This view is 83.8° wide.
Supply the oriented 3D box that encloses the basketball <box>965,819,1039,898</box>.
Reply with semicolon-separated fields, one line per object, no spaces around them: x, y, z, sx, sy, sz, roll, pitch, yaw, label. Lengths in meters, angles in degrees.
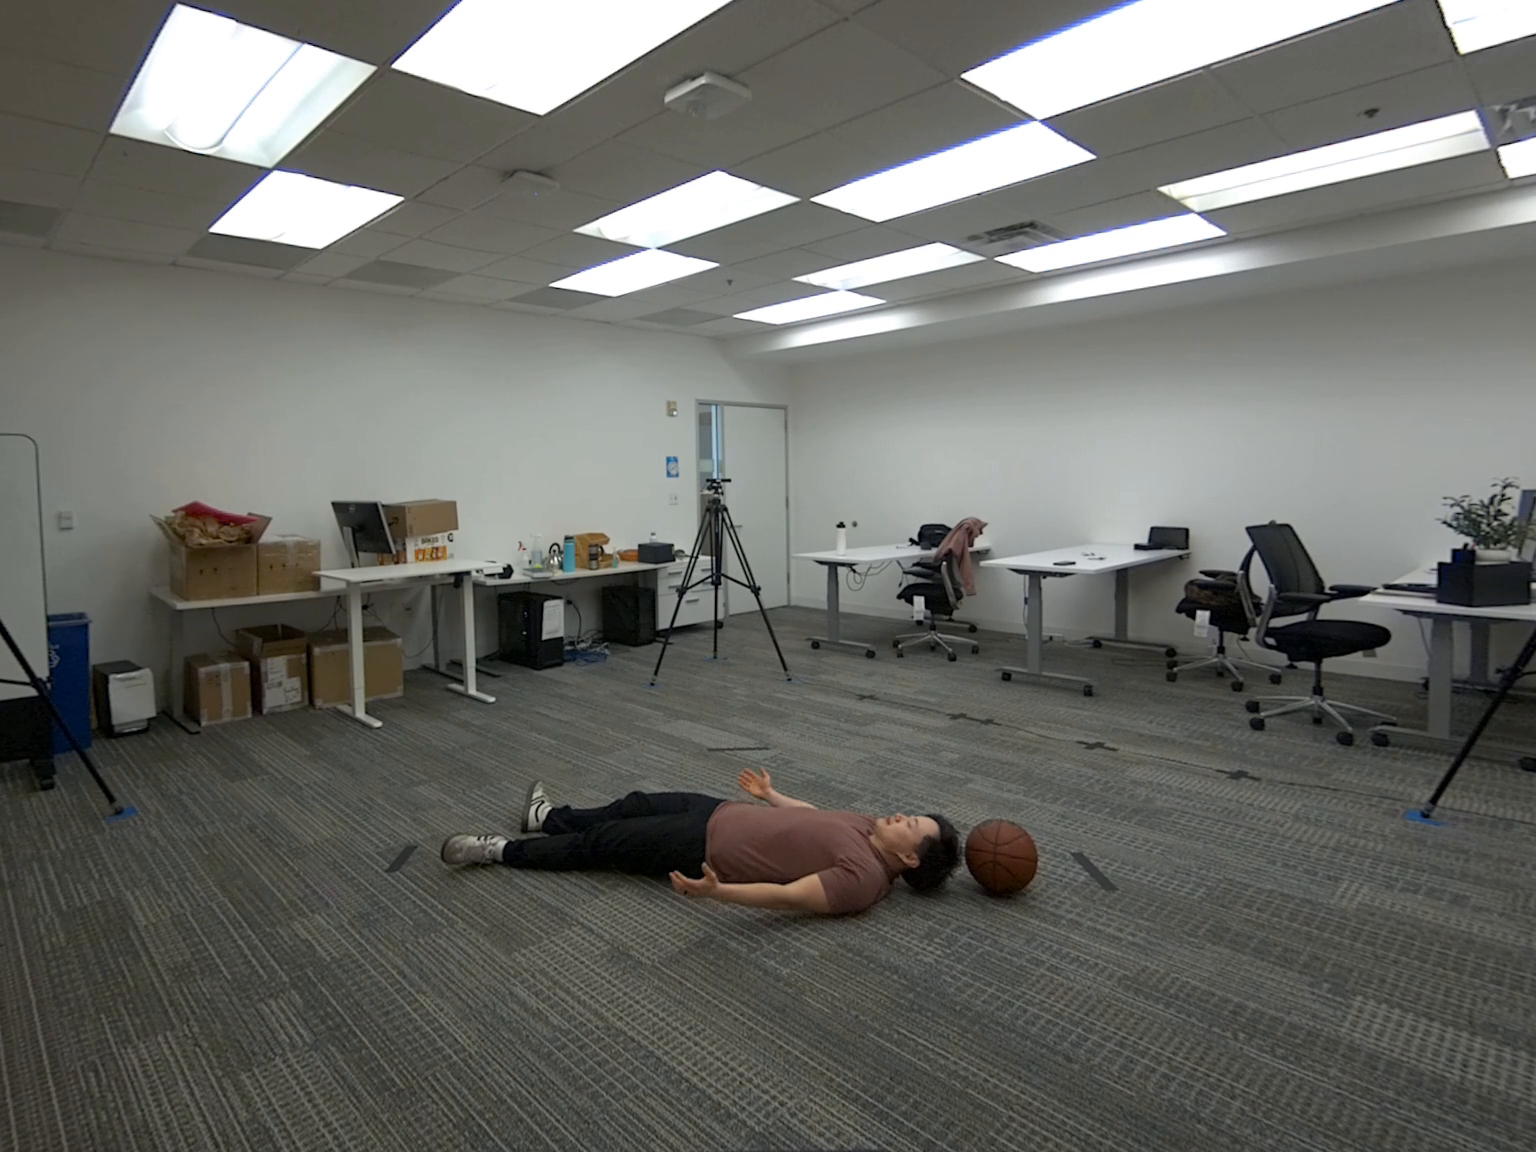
0.784;0.934;2.875;0.236;0.236;0.236;0;1;-2;basketball
